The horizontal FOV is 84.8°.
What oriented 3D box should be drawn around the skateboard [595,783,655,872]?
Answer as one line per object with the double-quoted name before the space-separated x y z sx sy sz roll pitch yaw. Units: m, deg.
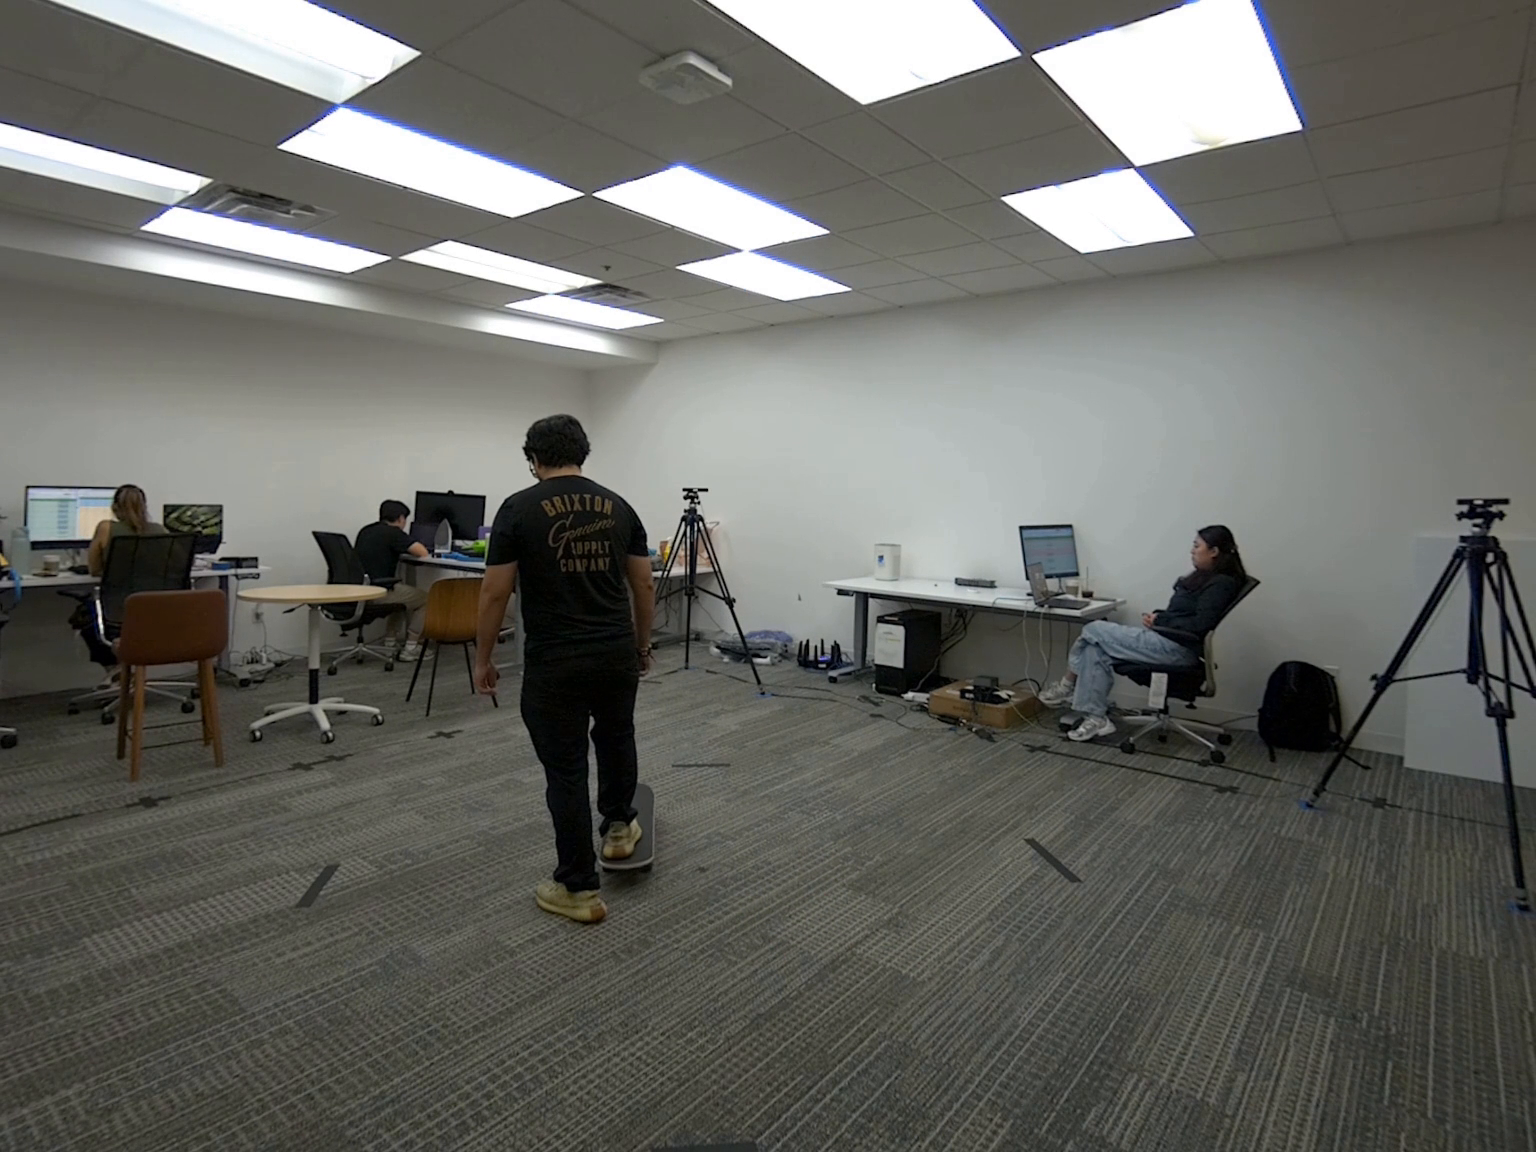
"skateboard" -0.551 0.987 3.287 0.192 0.110 0.794 -2 7 -8
